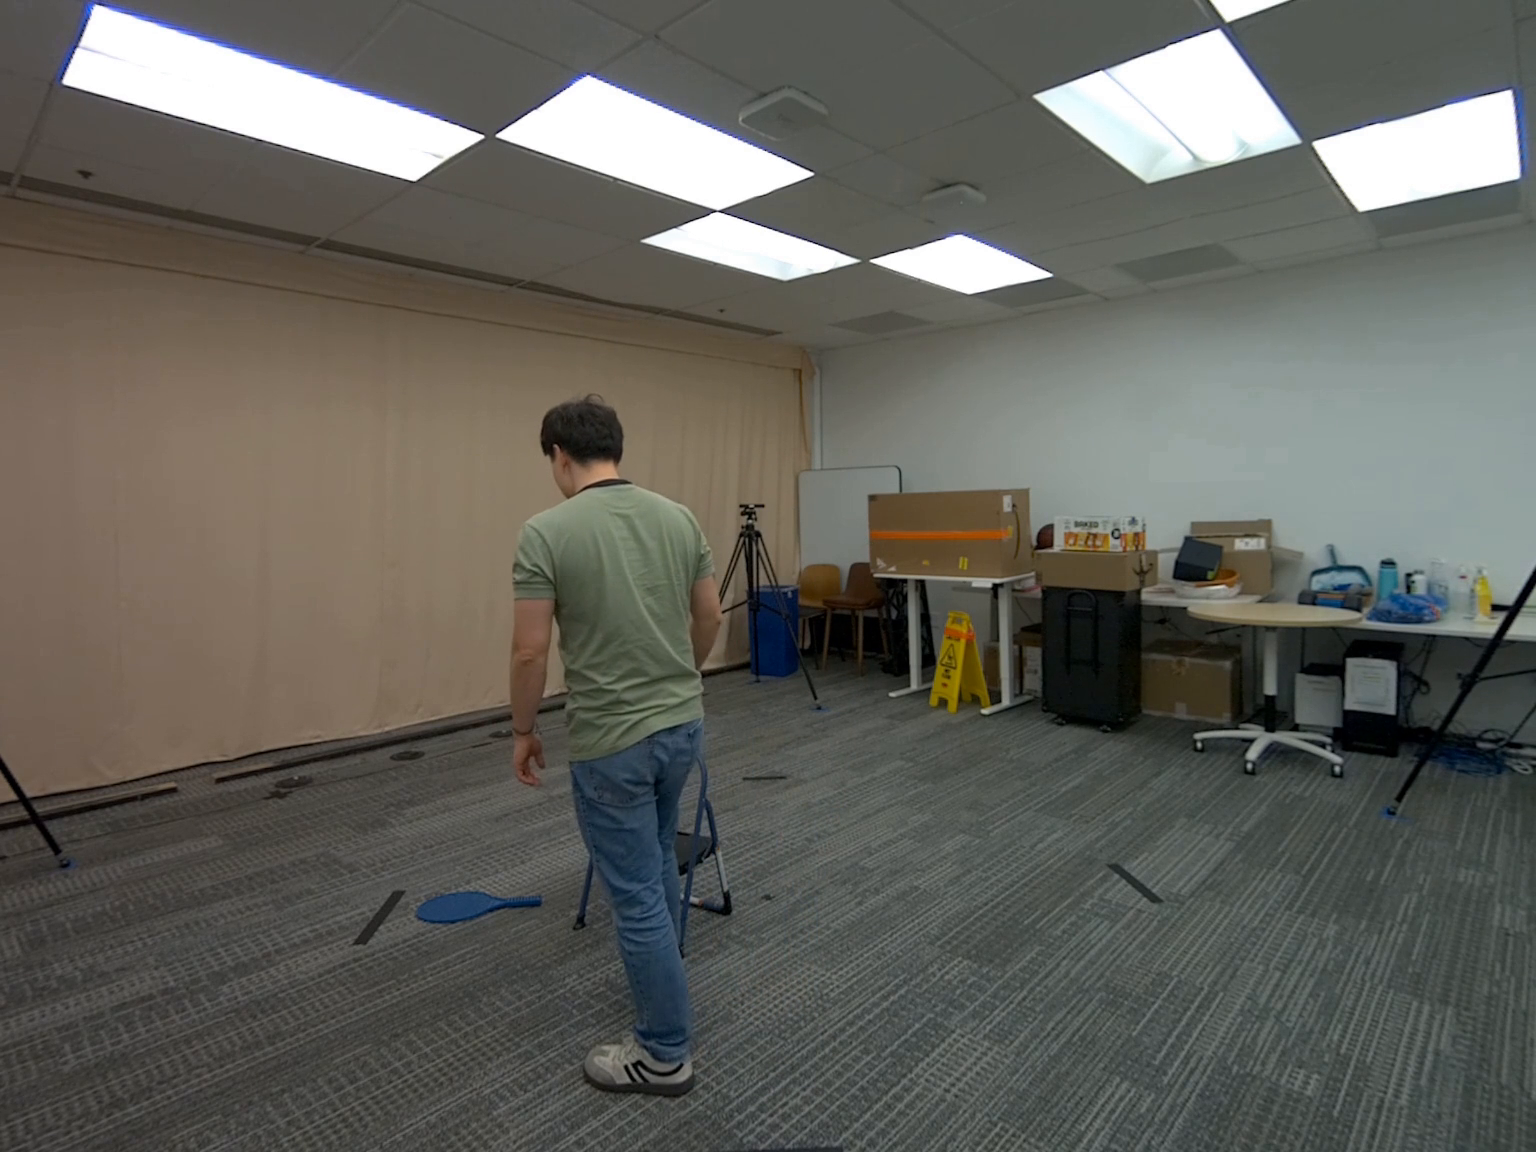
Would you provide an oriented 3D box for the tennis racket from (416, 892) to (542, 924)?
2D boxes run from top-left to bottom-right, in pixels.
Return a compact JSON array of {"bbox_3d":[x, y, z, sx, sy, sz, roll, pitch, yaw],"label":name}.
[{"bbox_3d":[-1.017,1.161,2.950,0.432,0.031,0.214,-3,5,-1],"label":"tennis racket"}]
